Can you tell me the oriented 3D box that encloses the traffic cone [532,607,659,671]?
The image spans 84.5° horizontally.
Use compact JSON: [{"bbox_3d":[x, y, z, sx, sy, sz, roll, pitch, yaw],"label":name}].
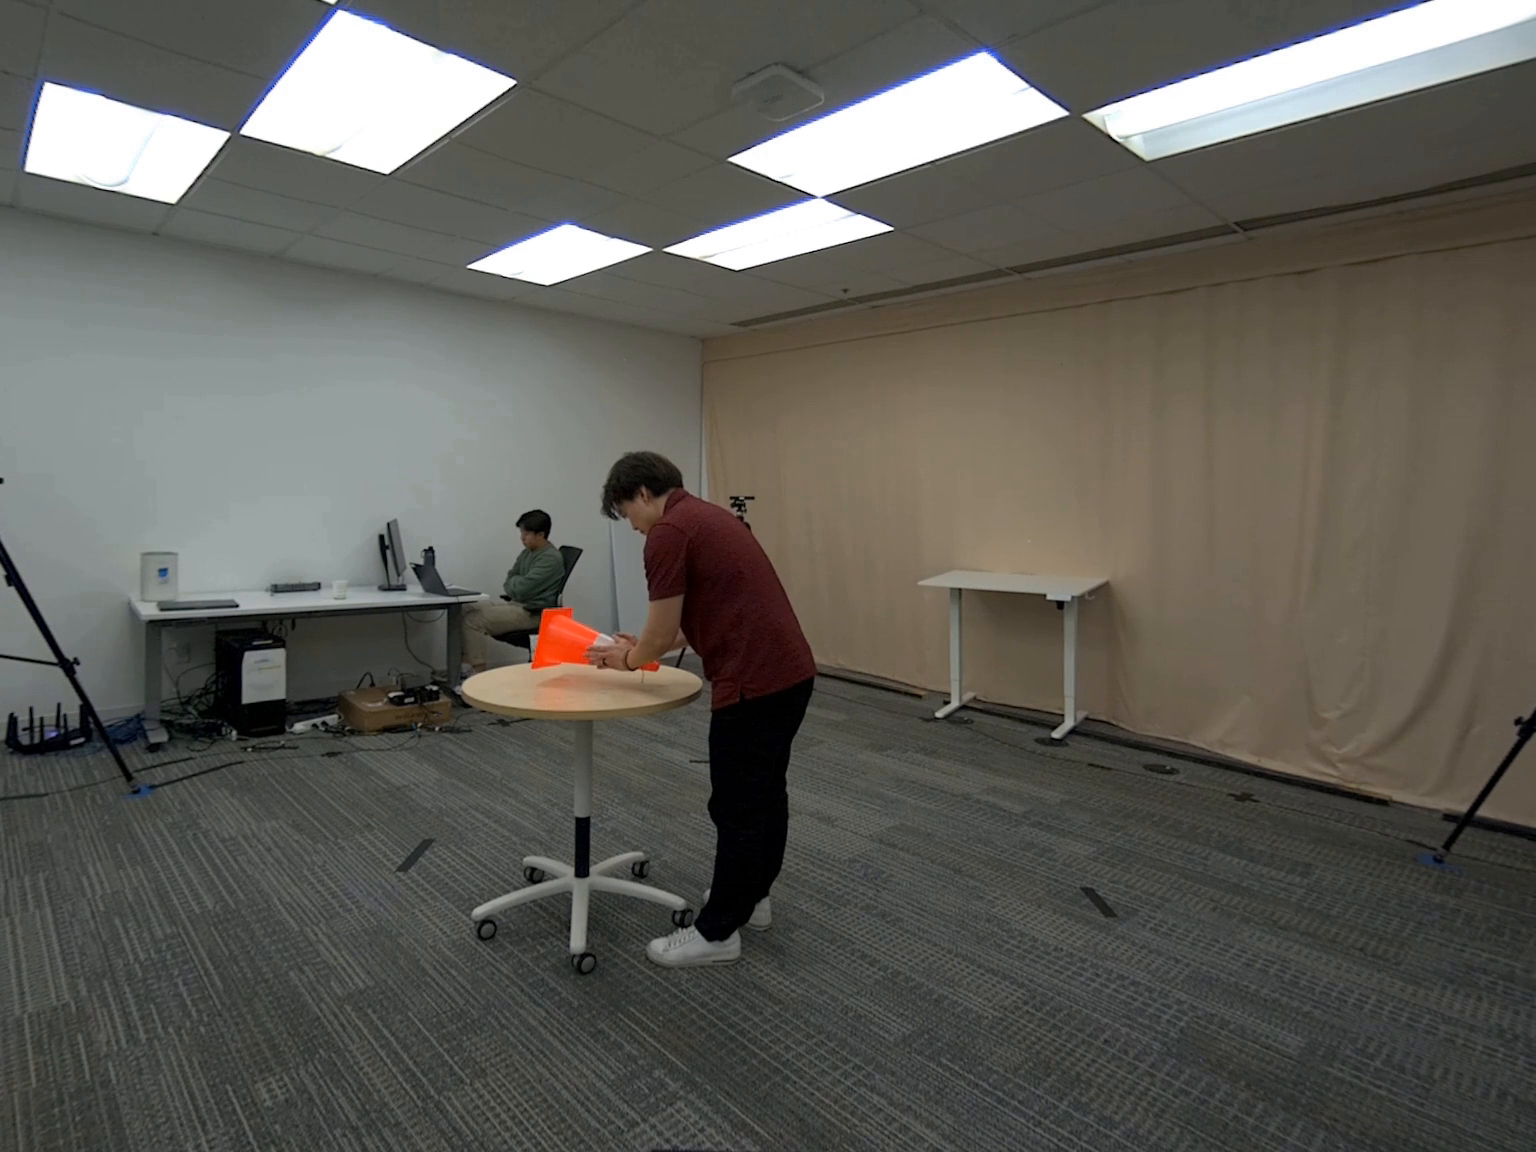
[{"bbox_3d":[-0.533,0.234,2.711,0.388,0.203,0.202,10,12,13],"label":"traffic cone"}]
